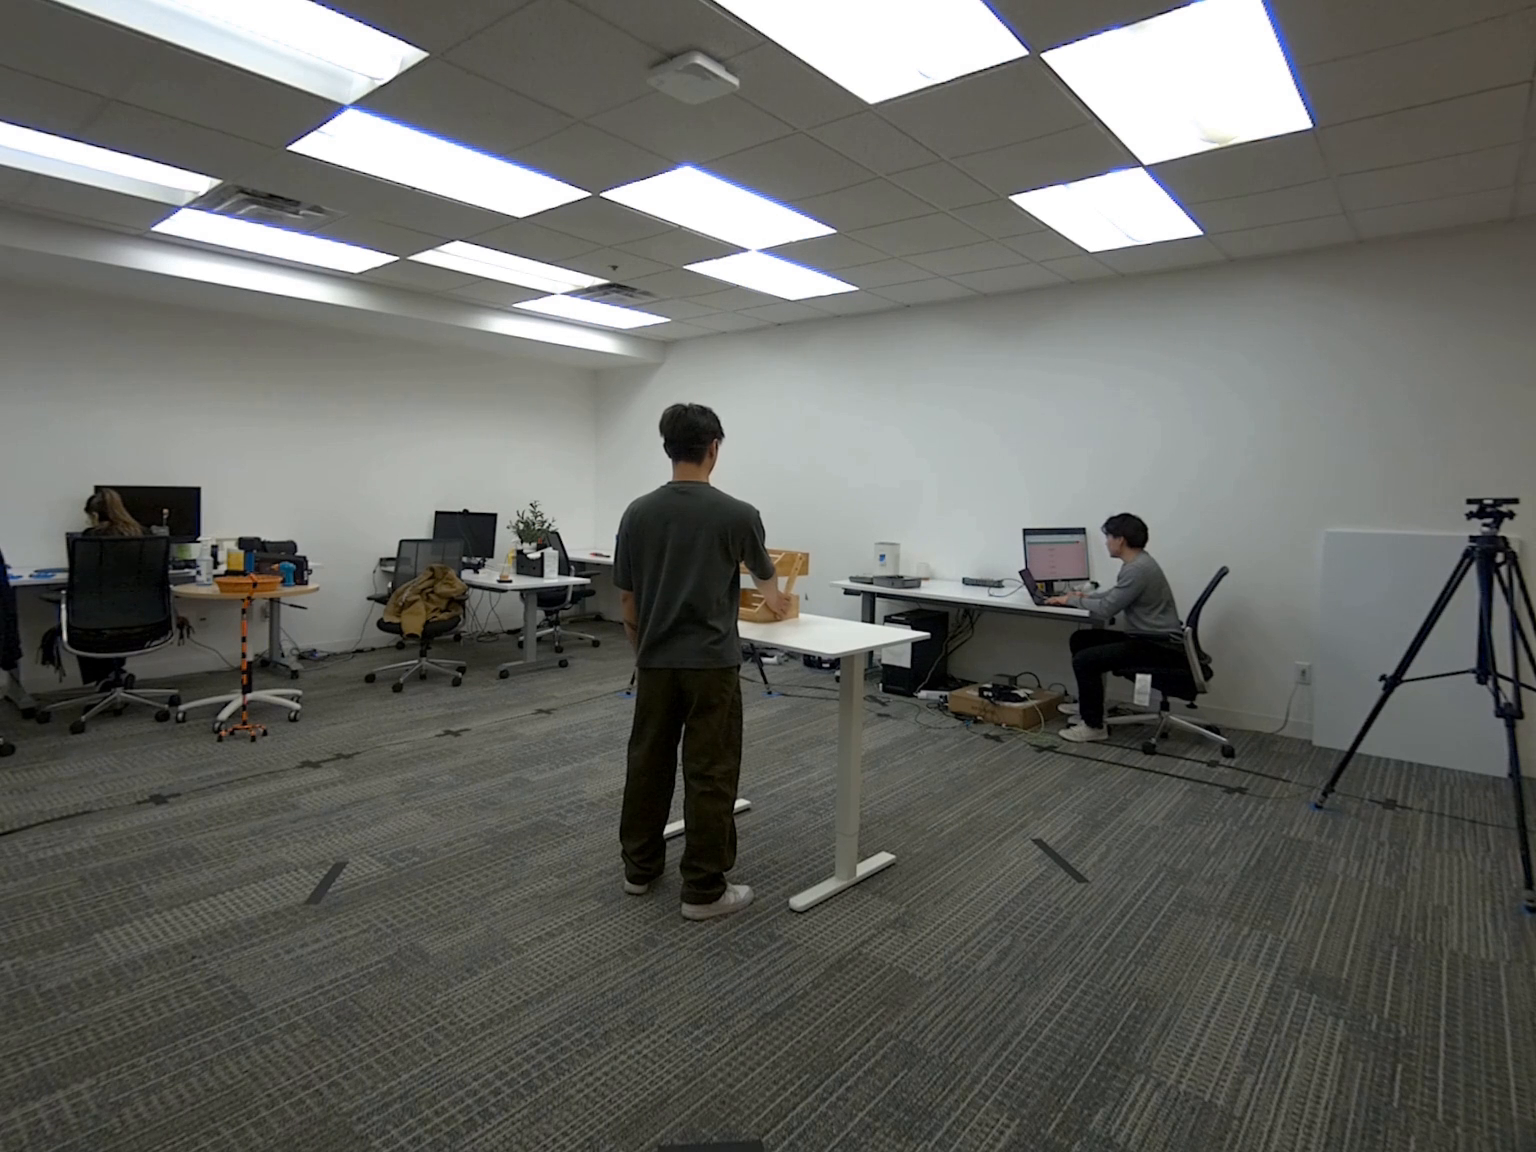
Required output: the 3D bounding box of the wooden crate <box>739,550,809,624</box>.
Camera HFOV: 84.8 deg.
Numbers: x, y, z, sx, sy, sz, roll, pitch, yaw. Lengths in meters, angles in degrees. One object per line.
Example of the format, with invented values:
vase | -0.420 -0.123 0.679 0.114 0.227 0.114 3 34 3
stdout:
wooden crate | -0.059 0.022 3.418 0.336 0.272 0.293 6 6 43
